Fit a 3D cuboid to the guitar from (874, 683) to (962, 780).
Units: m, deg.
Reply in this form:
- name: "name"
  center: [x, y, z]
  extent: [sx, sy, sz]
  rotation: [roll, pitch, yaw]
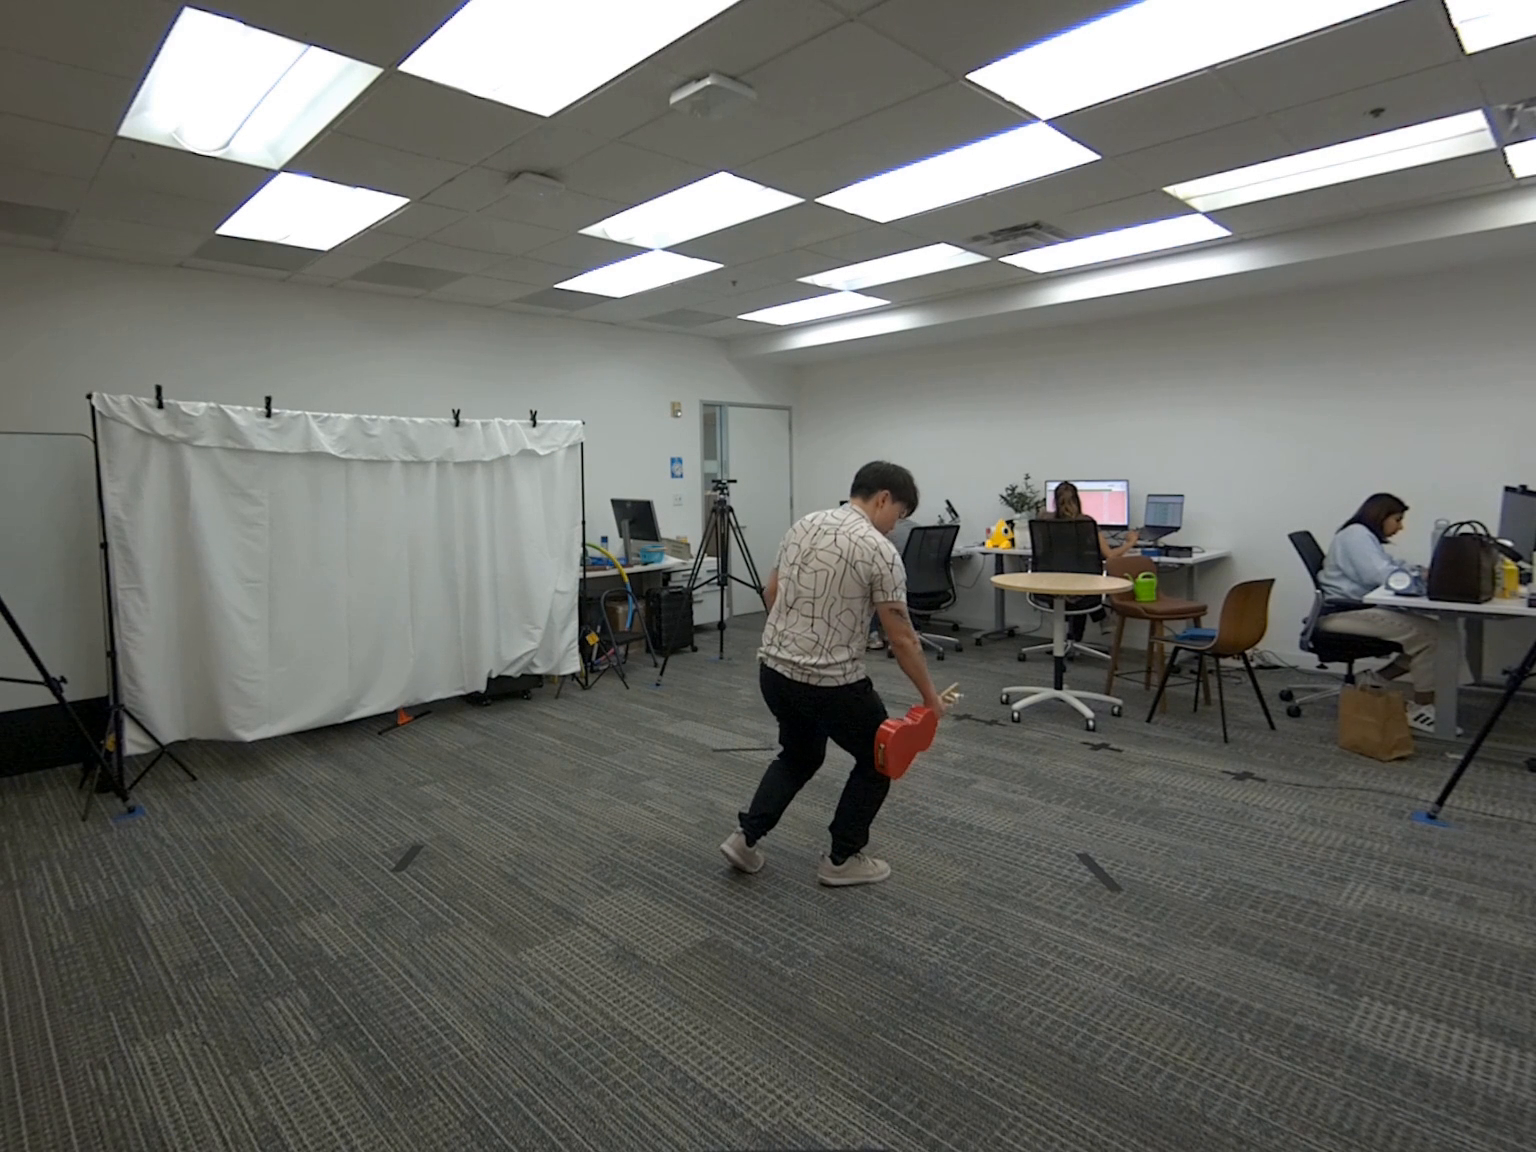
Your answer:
- name: "guitar"
  center: [0.520, 0.471, 2.857]
  extent: [0.493, 0.188, 0.073]
  rotation: [-34, 34, -33]
